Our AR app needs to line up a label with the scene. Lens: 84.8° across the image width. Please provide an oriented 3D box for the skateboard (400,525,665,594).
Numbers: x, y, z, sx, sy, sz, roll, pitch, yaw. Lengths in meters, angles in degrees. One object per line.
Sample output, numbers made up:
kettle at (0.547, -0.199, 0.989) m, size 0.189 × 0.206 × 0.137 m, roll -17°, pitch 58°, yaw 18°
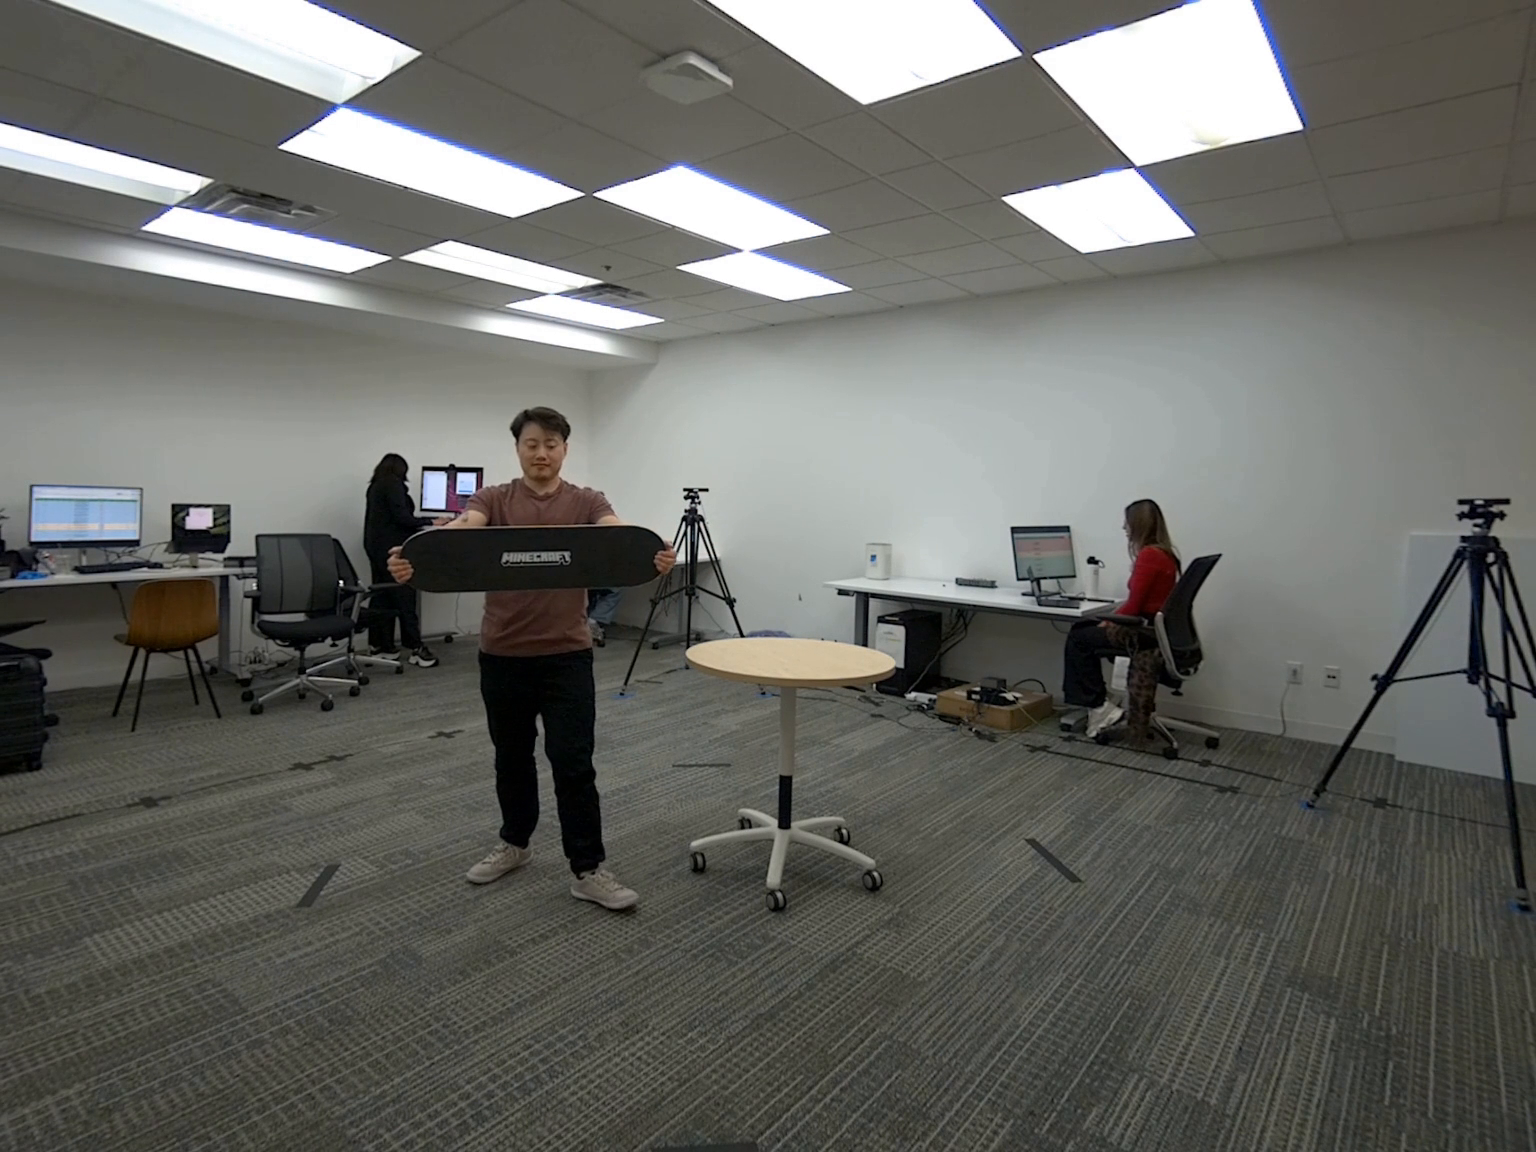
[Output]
skateboard at (-0.713, -0.058, 2.591) m, size 0.776 × 0.193 × 0.112 m, roll -2°, pitch 2°, yaw -11°
